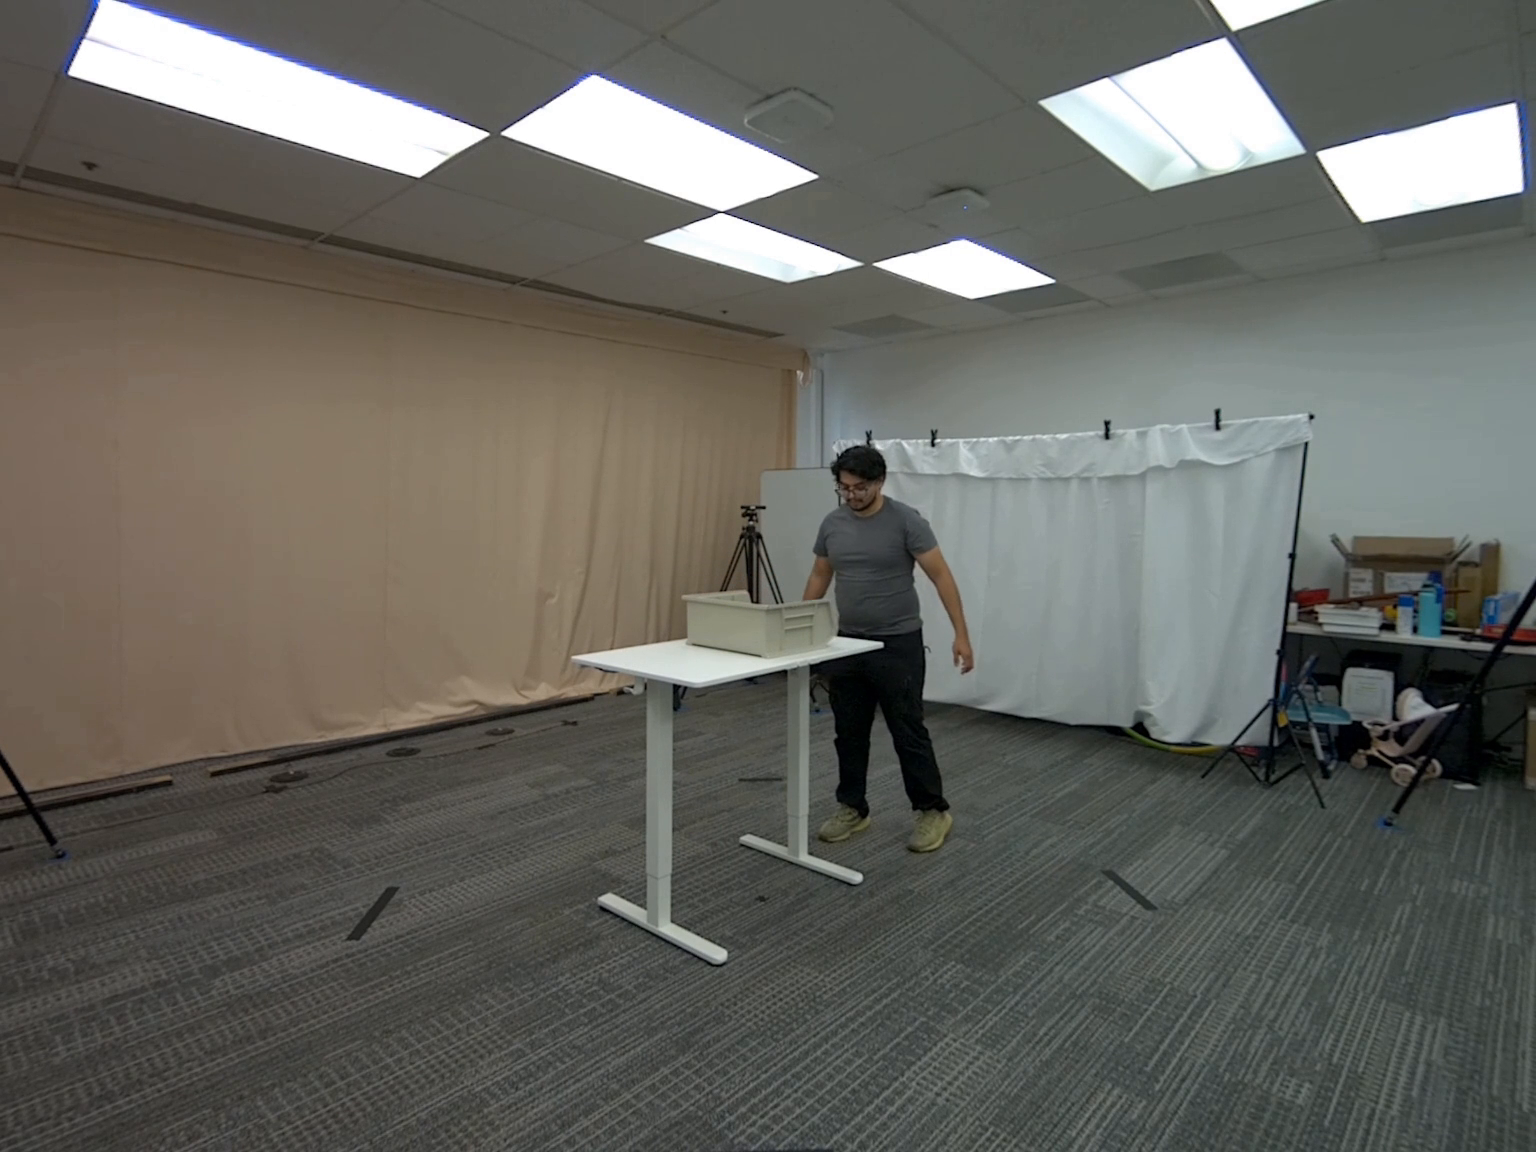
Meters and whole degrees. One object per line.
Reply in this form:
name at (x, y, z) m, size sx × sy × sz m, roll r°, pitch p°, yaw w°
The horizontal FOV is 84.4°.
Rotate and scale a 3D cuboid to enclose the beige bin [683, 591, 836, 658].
beige bin at (-0.031, 0.169, 3.066) m, size 0.436 × 0.188 × 0.366 m, roll 5°, pitch 8°, yaw 43°
